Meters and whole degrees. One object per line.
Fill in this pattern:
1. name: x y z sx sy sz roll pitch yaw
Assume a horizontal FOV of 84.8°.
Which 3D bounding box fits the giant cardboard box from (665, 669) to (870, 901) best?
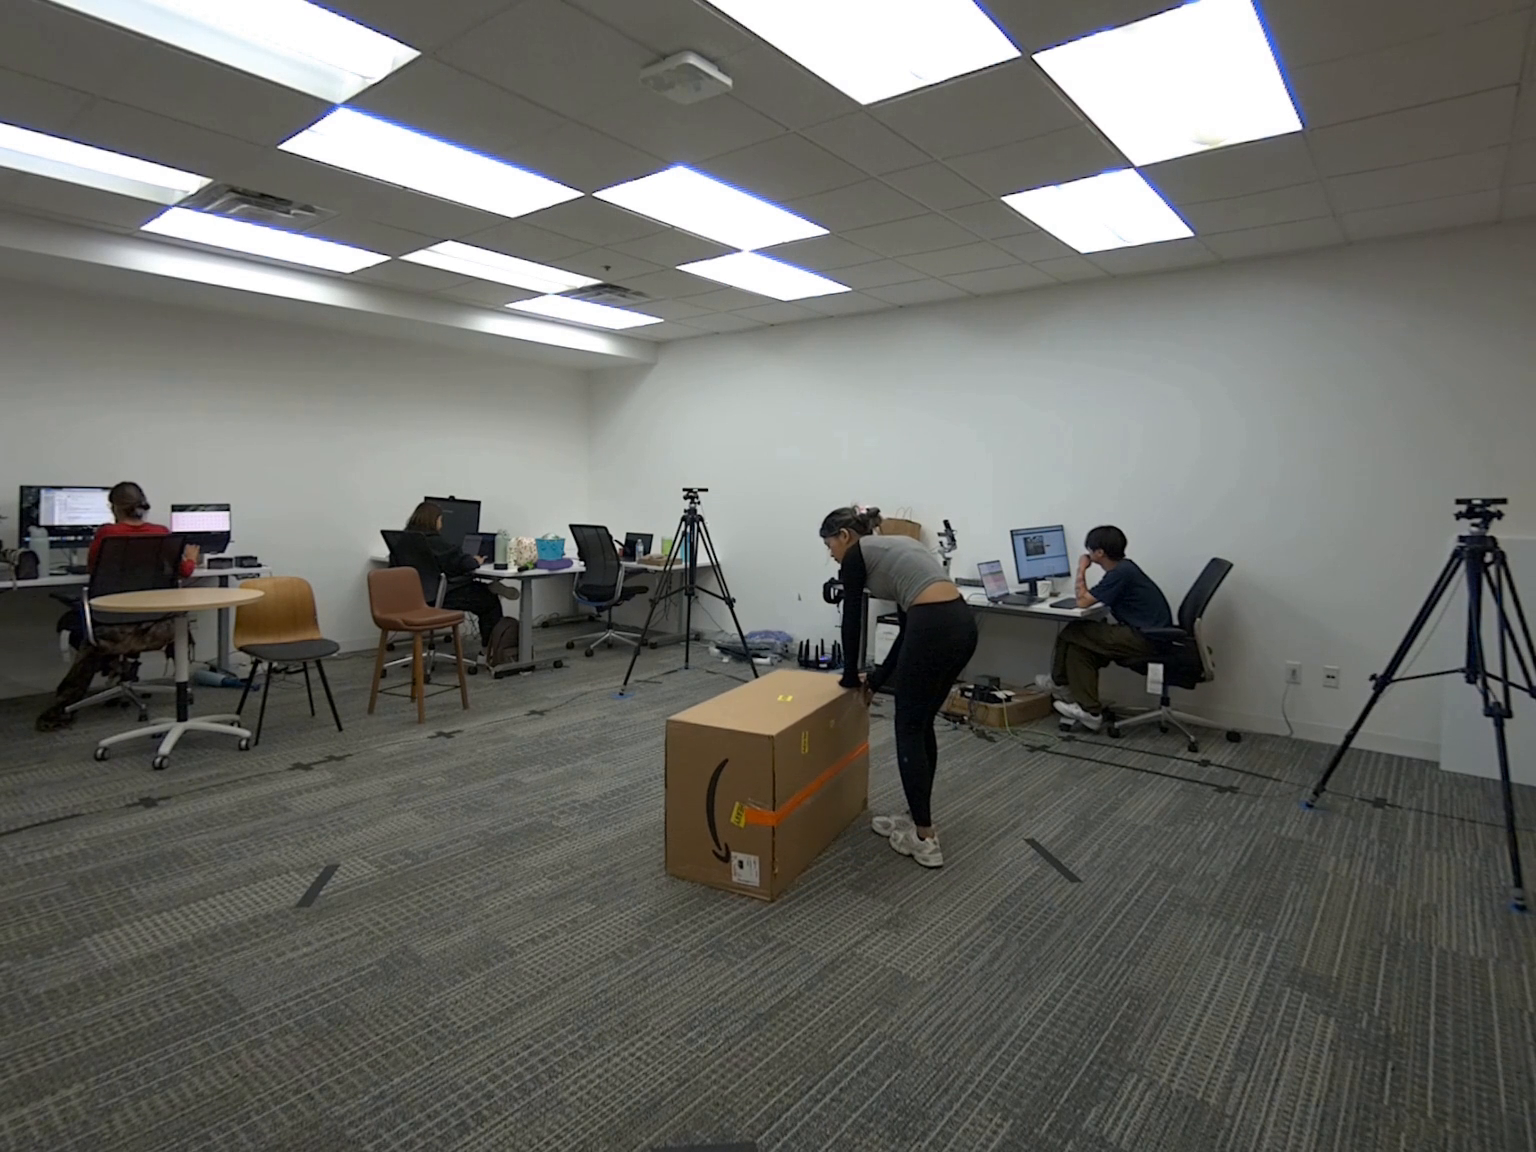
1. giant cardboard box: 0.027 0.760 3.386 0.459 0.581 1.004 3 6 25
